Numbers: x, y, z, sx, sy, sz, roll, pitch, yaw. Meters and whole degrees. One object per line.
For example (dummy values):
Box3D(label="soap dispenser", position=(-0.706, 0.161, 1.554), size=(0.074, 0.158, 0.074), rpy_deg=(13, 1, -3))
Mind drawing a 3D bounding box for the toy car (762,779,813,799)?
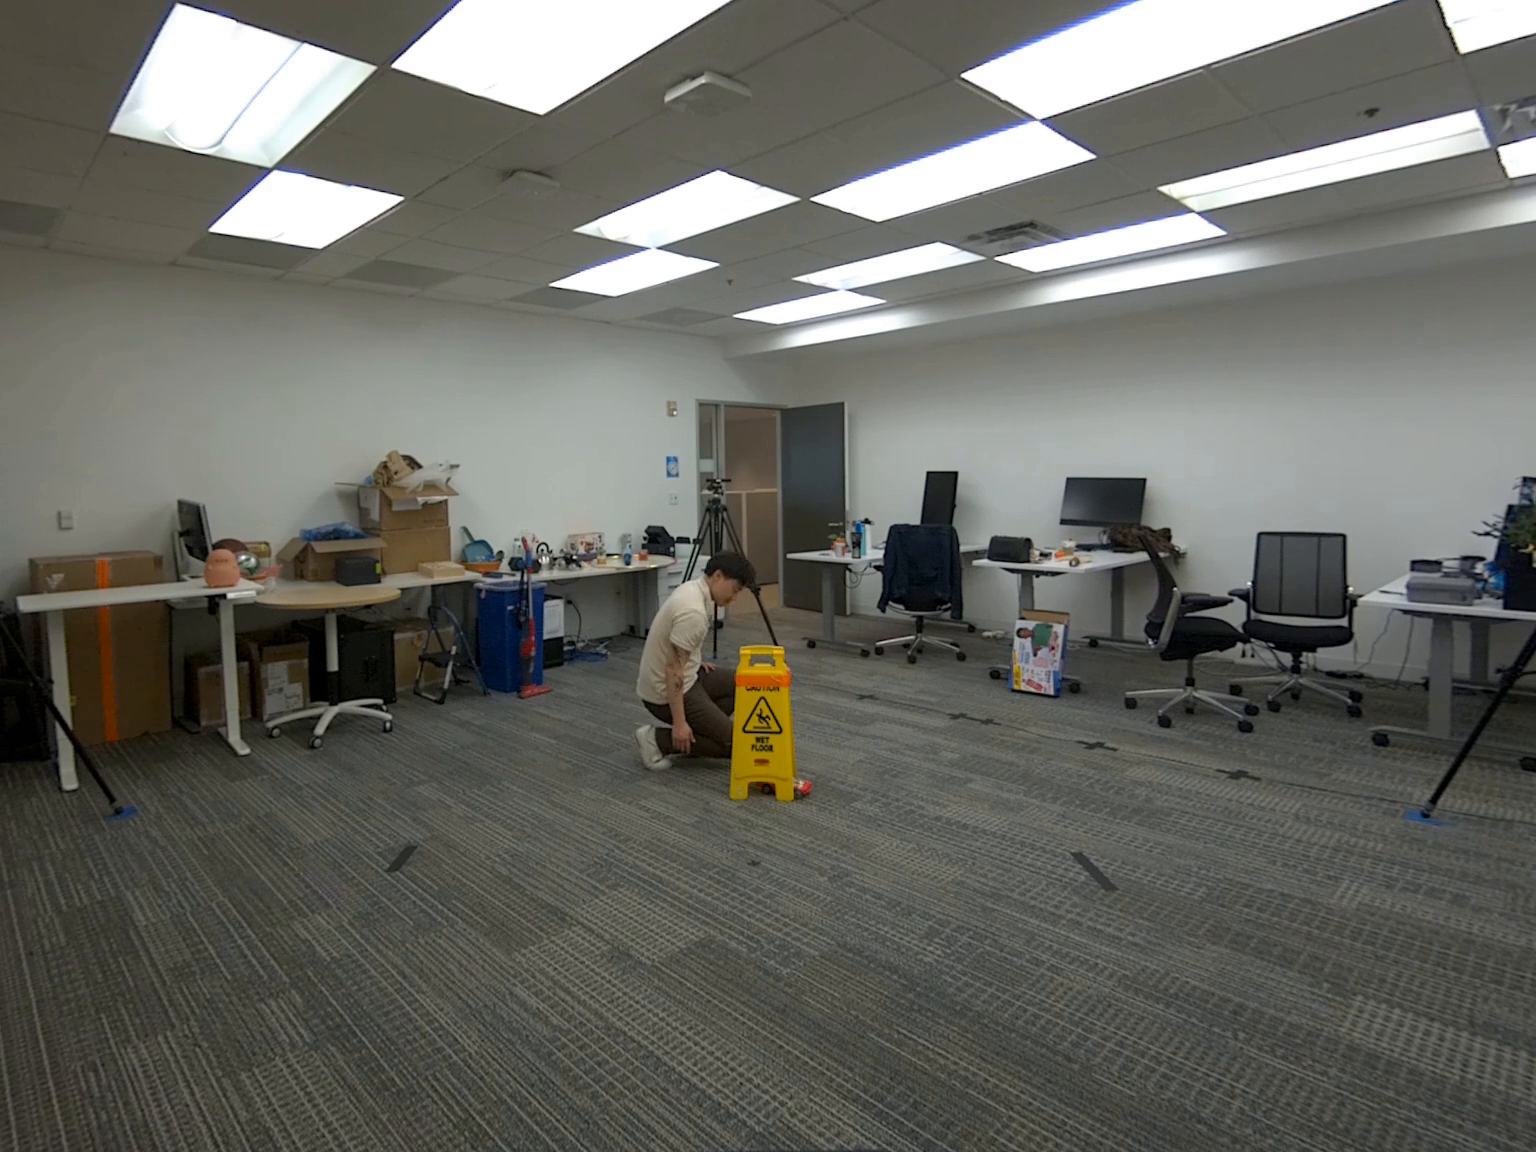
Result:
Box3D(label="toy car", position=(0.062, 0.941, 3.821), size=(0.261, 0.082, 0.128), rpy_deg=(15, 12, 23))
